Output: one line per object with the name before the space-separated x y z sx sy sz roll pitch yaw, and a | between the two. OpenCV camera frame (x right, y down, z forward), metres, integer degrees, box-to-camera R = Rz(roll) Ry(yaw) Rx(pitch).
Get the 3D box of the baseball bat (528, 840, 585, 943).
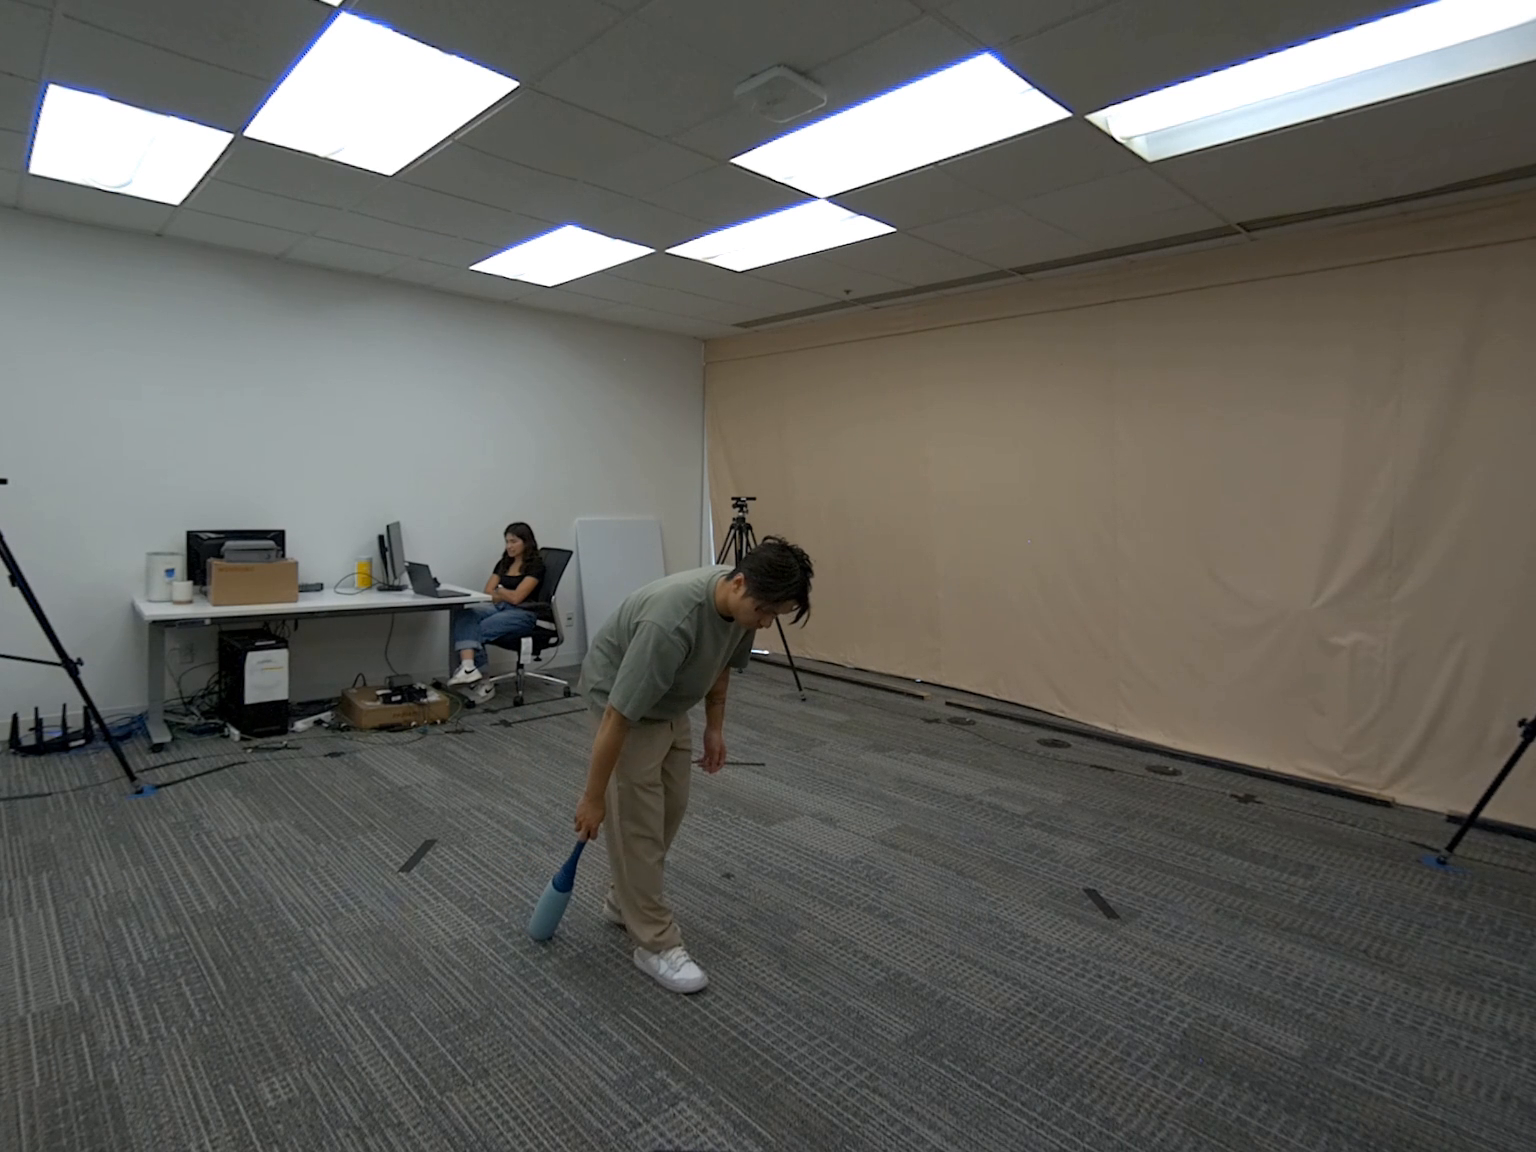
baseball bat | -0.614 0.913 2.525 0.088 0.539 0.091 20 33 -15
